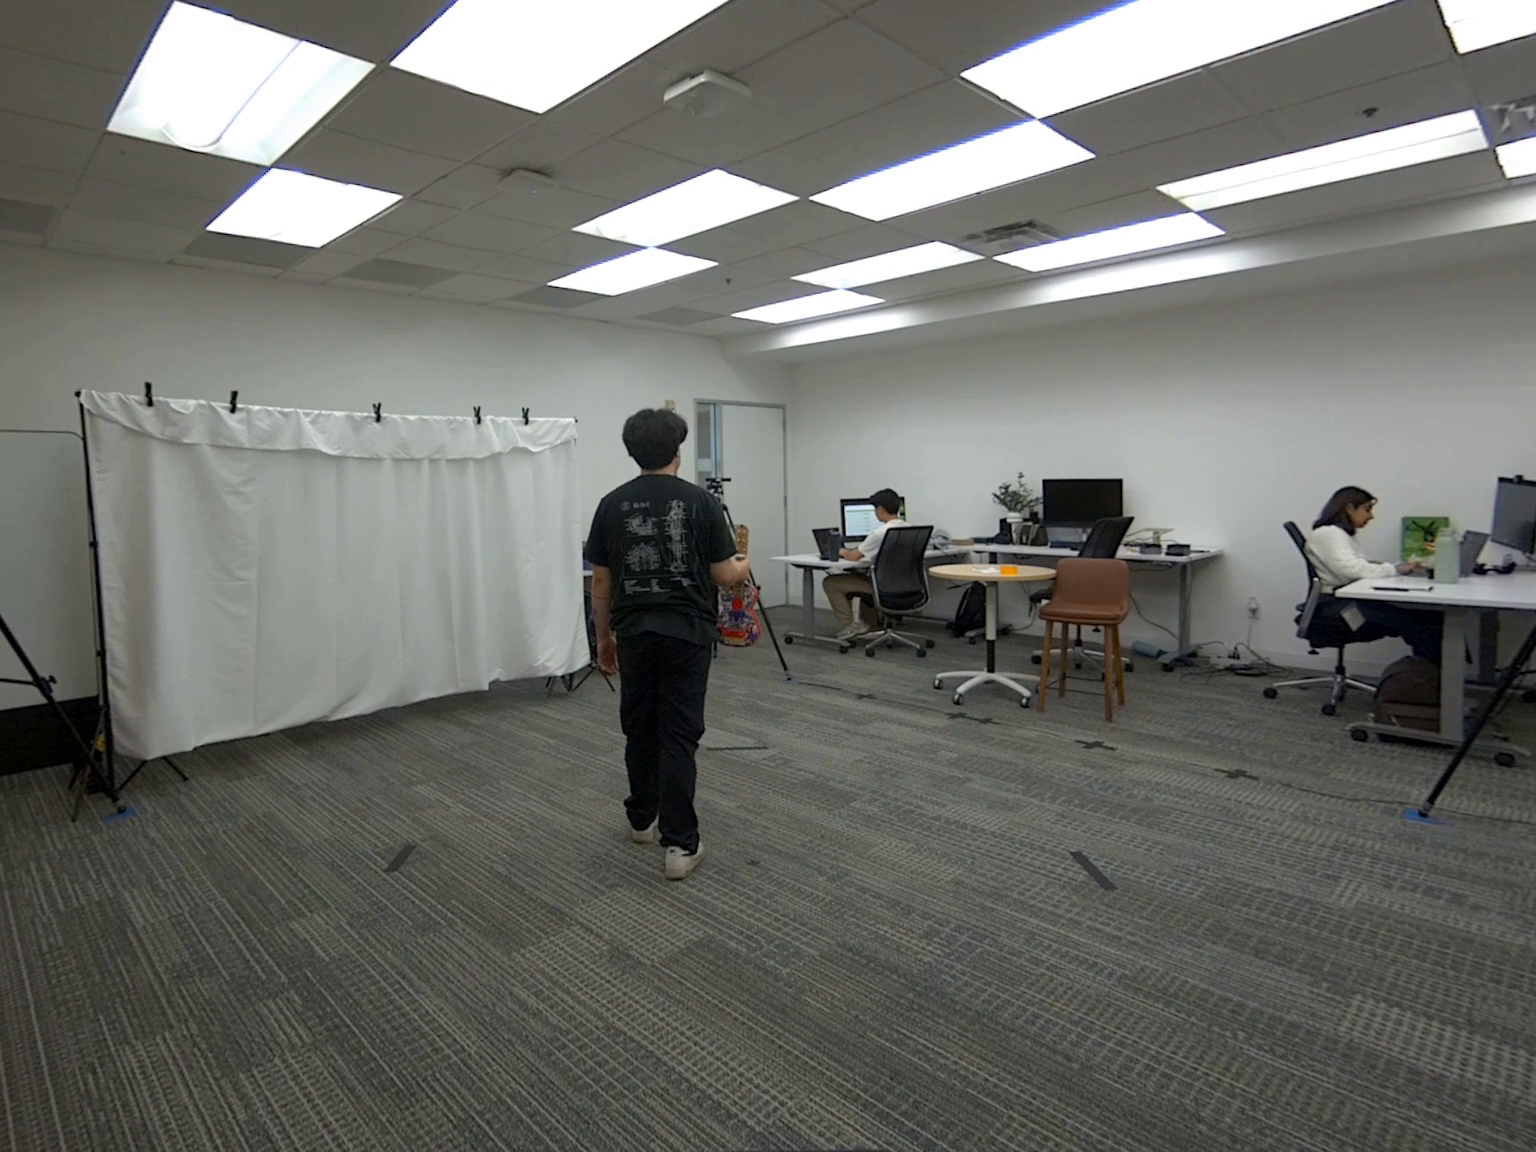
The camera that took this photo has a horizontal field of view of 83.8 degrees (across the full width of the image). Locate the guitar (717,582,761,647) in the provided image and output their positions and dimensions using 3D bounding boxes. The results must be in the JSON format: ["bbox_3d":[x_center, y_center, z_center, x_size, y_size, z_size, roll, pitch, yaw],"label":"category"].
[{"bbox_3d":[-0.095,0.049,3.518,0.196,0.499,0.069,11,-3,13],"label":"guitar"}]
